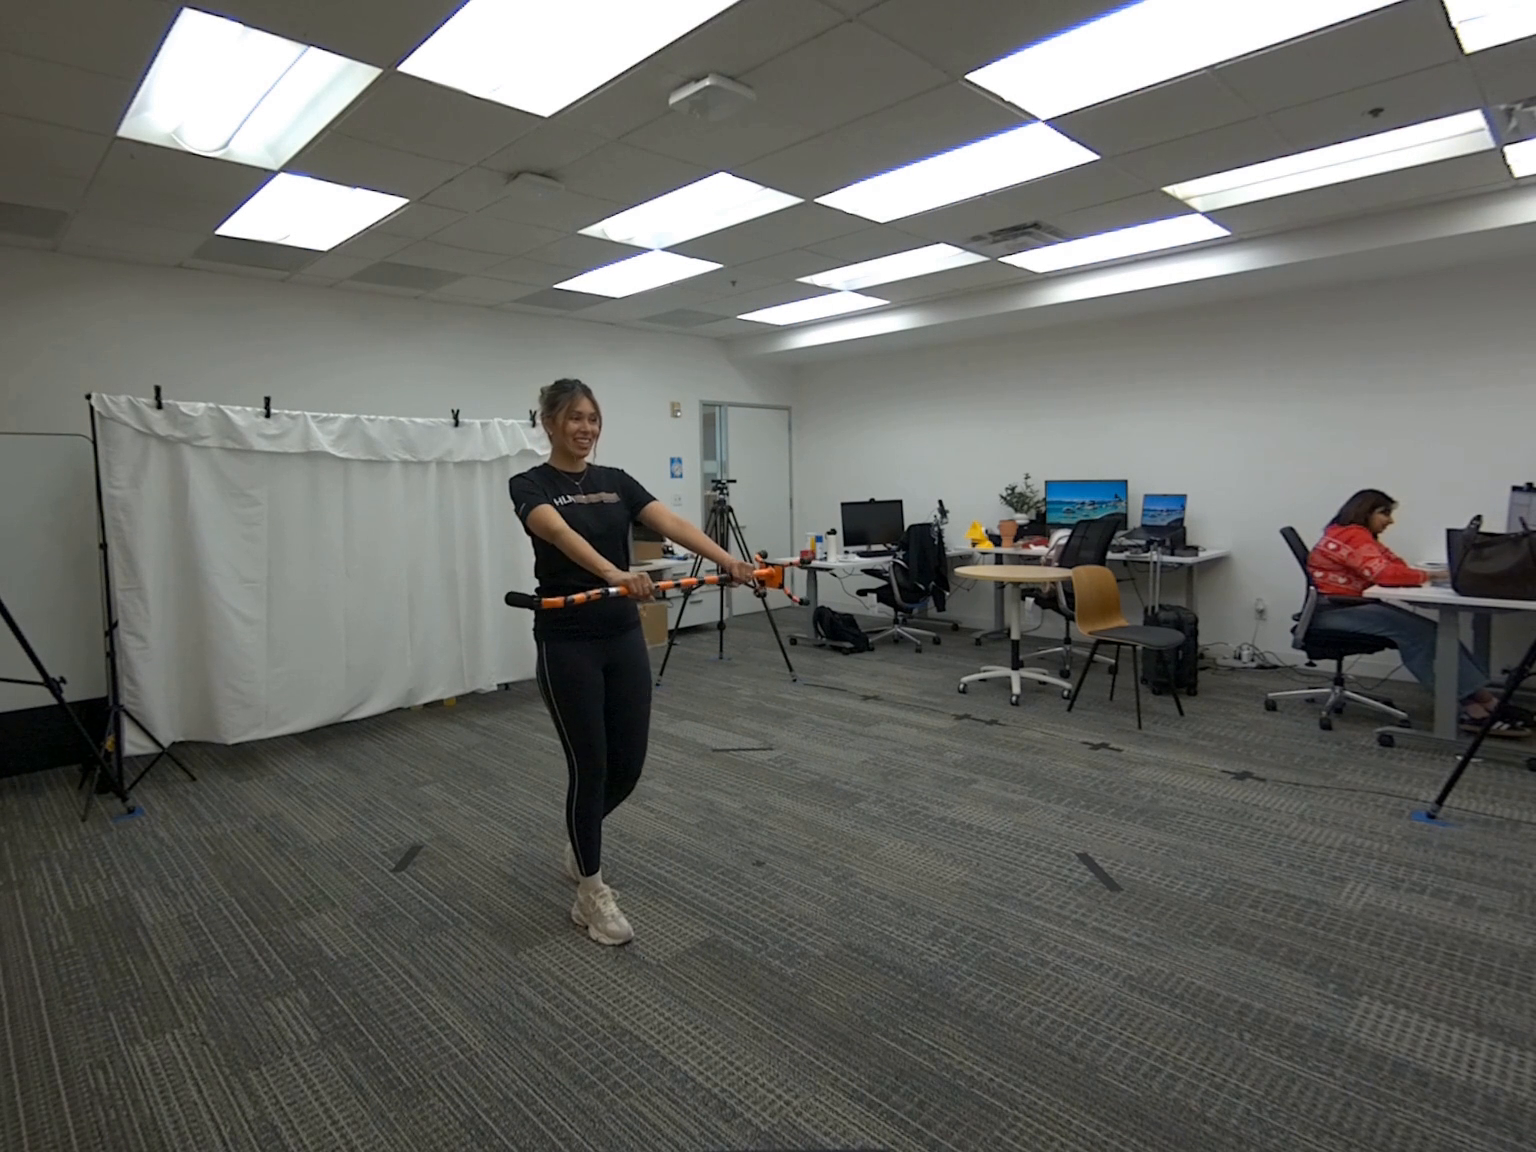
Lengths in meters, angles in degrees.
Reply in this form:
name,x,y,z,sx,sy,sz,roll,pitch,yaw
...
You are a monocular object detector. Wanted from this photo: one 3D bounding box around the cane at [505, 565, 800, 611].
name,x,y,z,sx,sy,sz,roll,pitch,yaw
cane,-0.256,0.037,2.306,0.884,0.151,0.213,-6,9,-44
